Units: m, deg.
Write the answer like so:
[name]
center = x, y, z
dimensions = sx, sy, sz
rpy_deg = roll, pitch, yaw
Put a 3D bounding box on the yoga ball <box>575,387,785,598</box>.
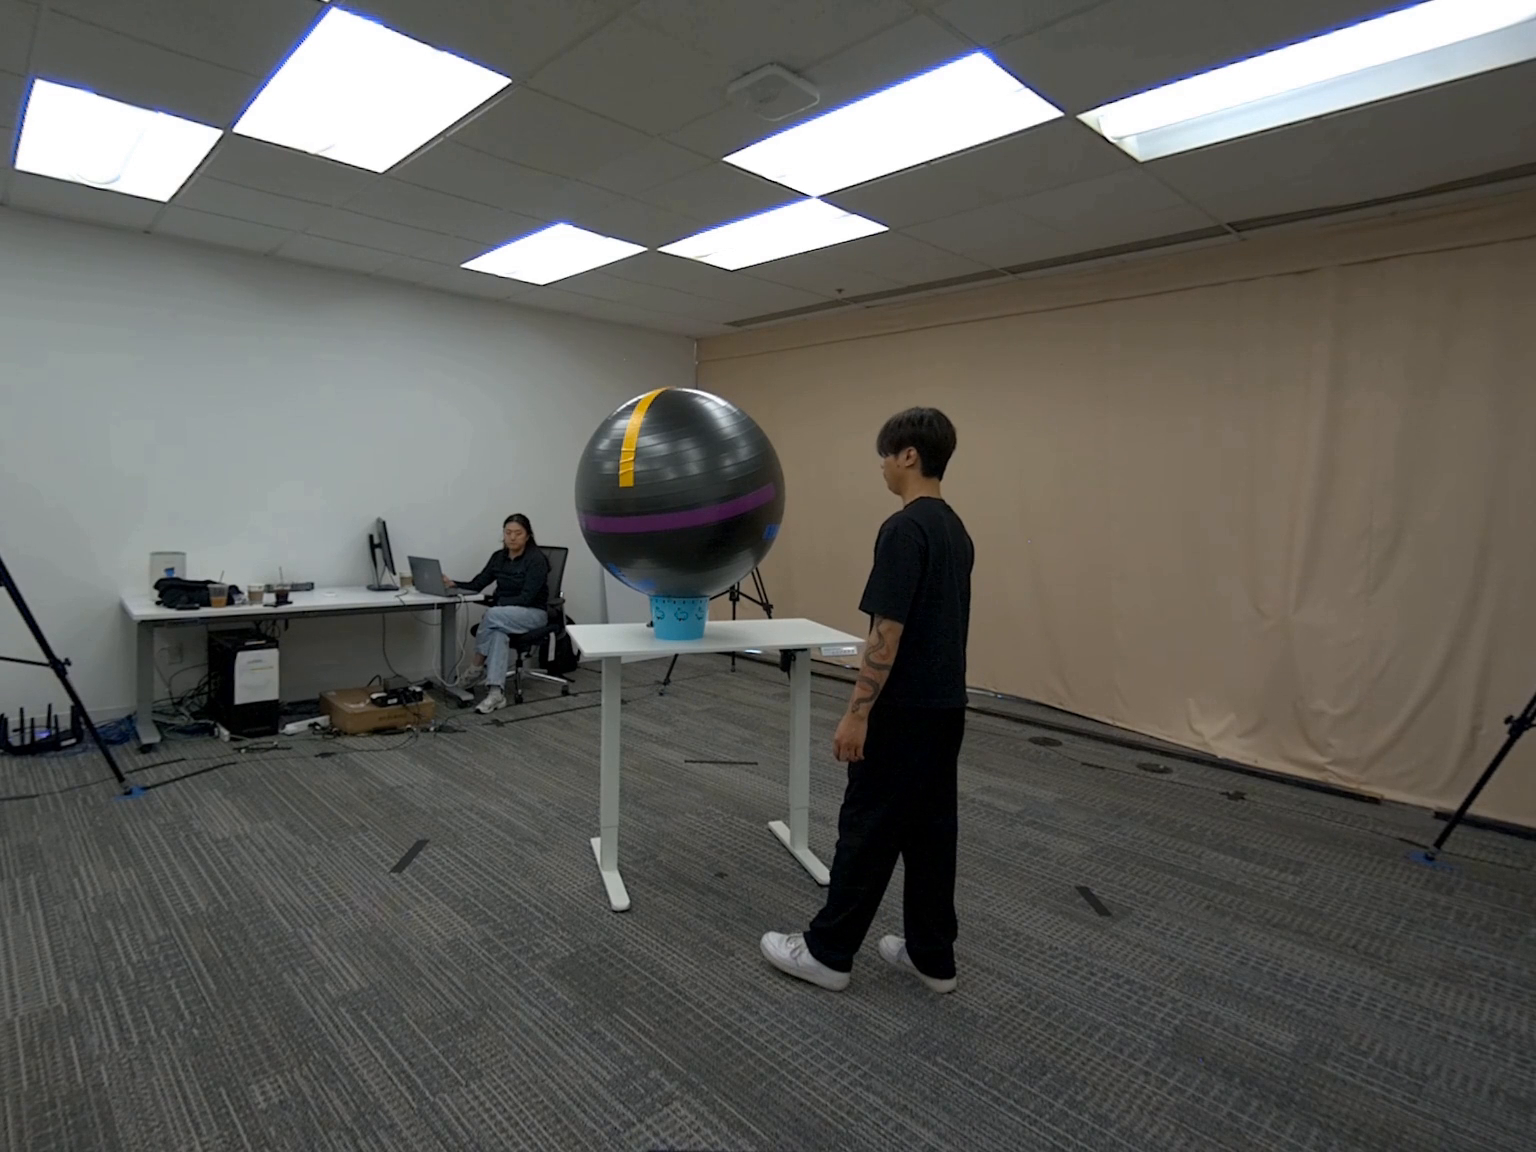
[yoga ball]
center = -0.317, -0.291, 3.048
dimensions = 0.757, 0.756, 0.761
rpy_deg = 1, 4, -1
